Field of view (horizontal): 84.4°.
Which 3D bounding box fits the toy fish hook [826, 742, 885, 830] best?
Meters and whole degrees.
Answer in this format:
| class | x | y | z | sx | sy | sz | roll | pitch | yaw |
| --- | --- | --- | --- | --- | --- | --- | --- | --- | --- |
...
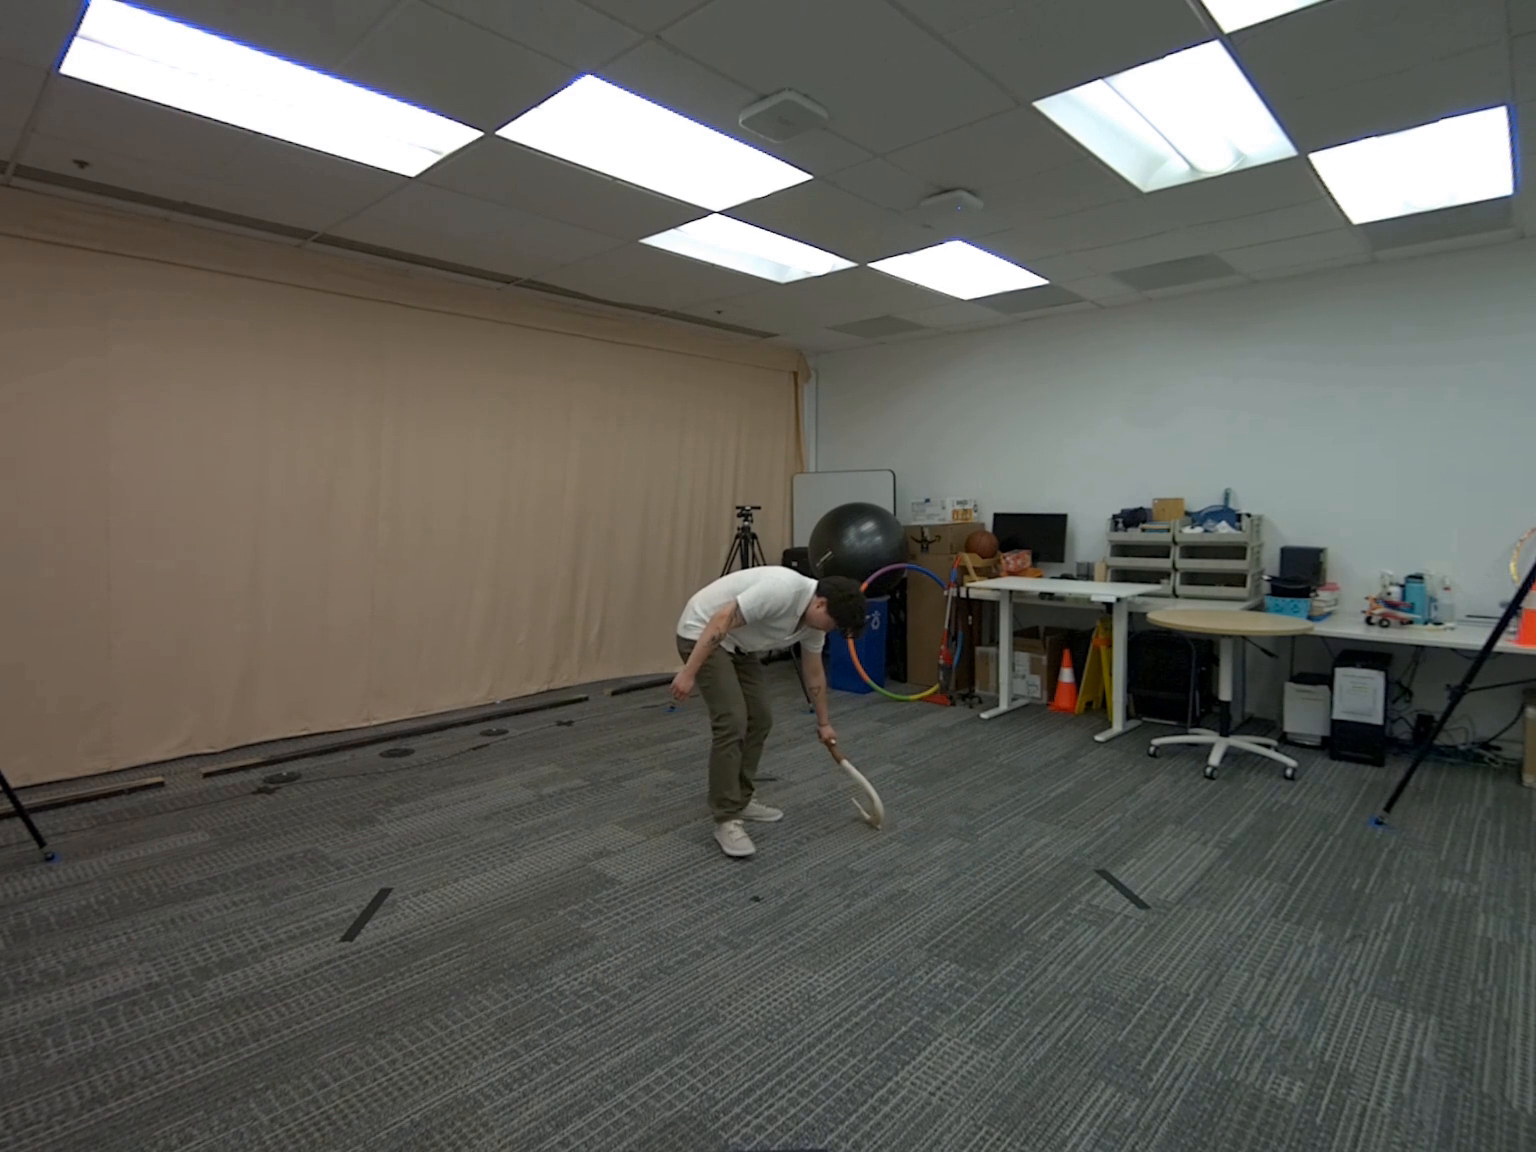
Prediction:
| class | x | y | z | sx | sy | sz | roll | pitch | yaw |
| --- | --- | --- | --- | --- | --- | --- | --- | --- | --- |
| toy fish hook | 0.360 | 0.897 | 3.748 | 0.047 | 0.221 | 0.524 | -13 | 44 | -26 |
